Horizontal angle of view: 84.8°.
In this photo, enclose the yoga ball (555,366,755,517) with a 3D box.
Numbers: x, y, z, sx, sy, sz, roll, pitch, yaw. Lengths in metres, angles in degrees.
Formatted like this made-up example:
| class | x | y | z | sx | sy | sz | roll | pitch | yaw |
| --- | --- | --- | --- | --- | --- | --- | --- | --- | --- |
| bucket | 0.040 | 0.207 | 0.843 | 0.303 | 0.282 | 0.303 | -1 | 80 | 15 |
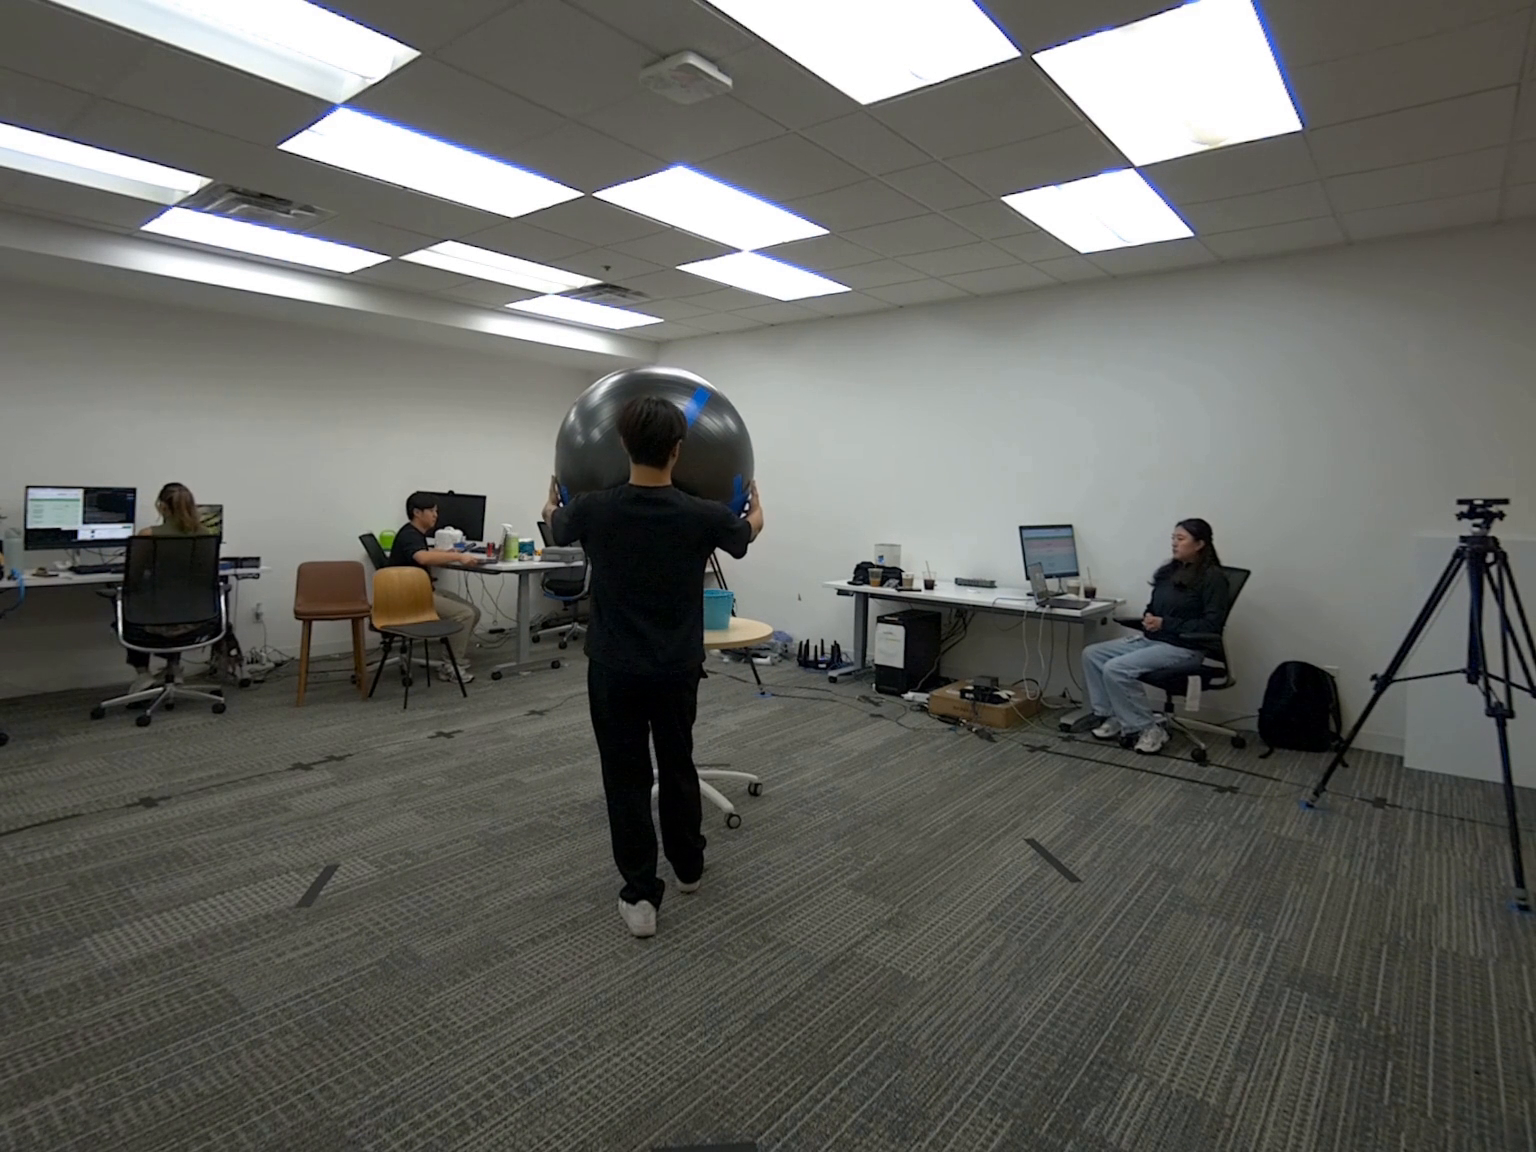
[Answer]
| class | x | y | z | sx | sy | sz | roll | pitch | yaw |
| --- | --- | --- | --- | --- | --- | --- | --- | --- | --- |
| yoga ball | -0.443 | -0.419 | 3.256 | 0.757 | 0.755 | 0.762 | 1 | 4 | -2 |
